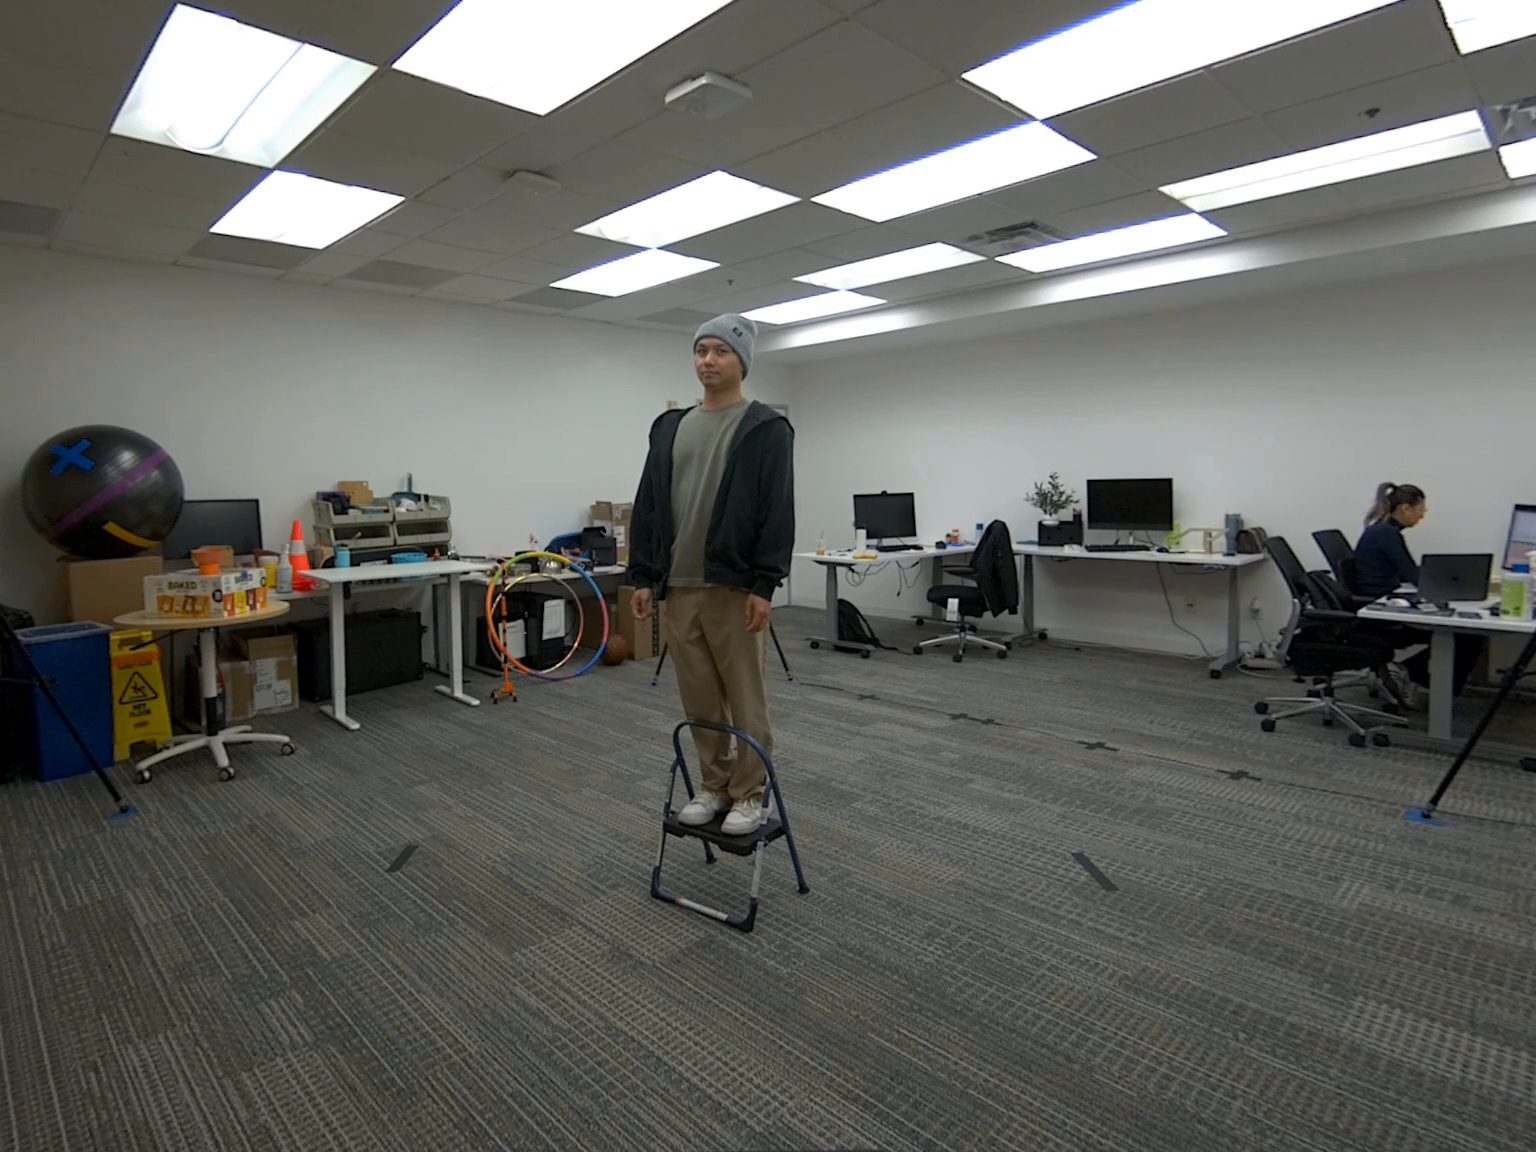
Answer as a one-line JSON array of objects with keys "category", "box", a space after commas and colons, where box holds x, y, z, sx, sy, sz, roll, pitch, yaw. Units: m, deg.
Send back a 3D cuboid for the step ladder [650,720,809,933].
[{"category": "step ladder", "box": [-0.138, 0.772, 2.866, 0.443, 0.603, 0.341, 2, 6, 35]}]
